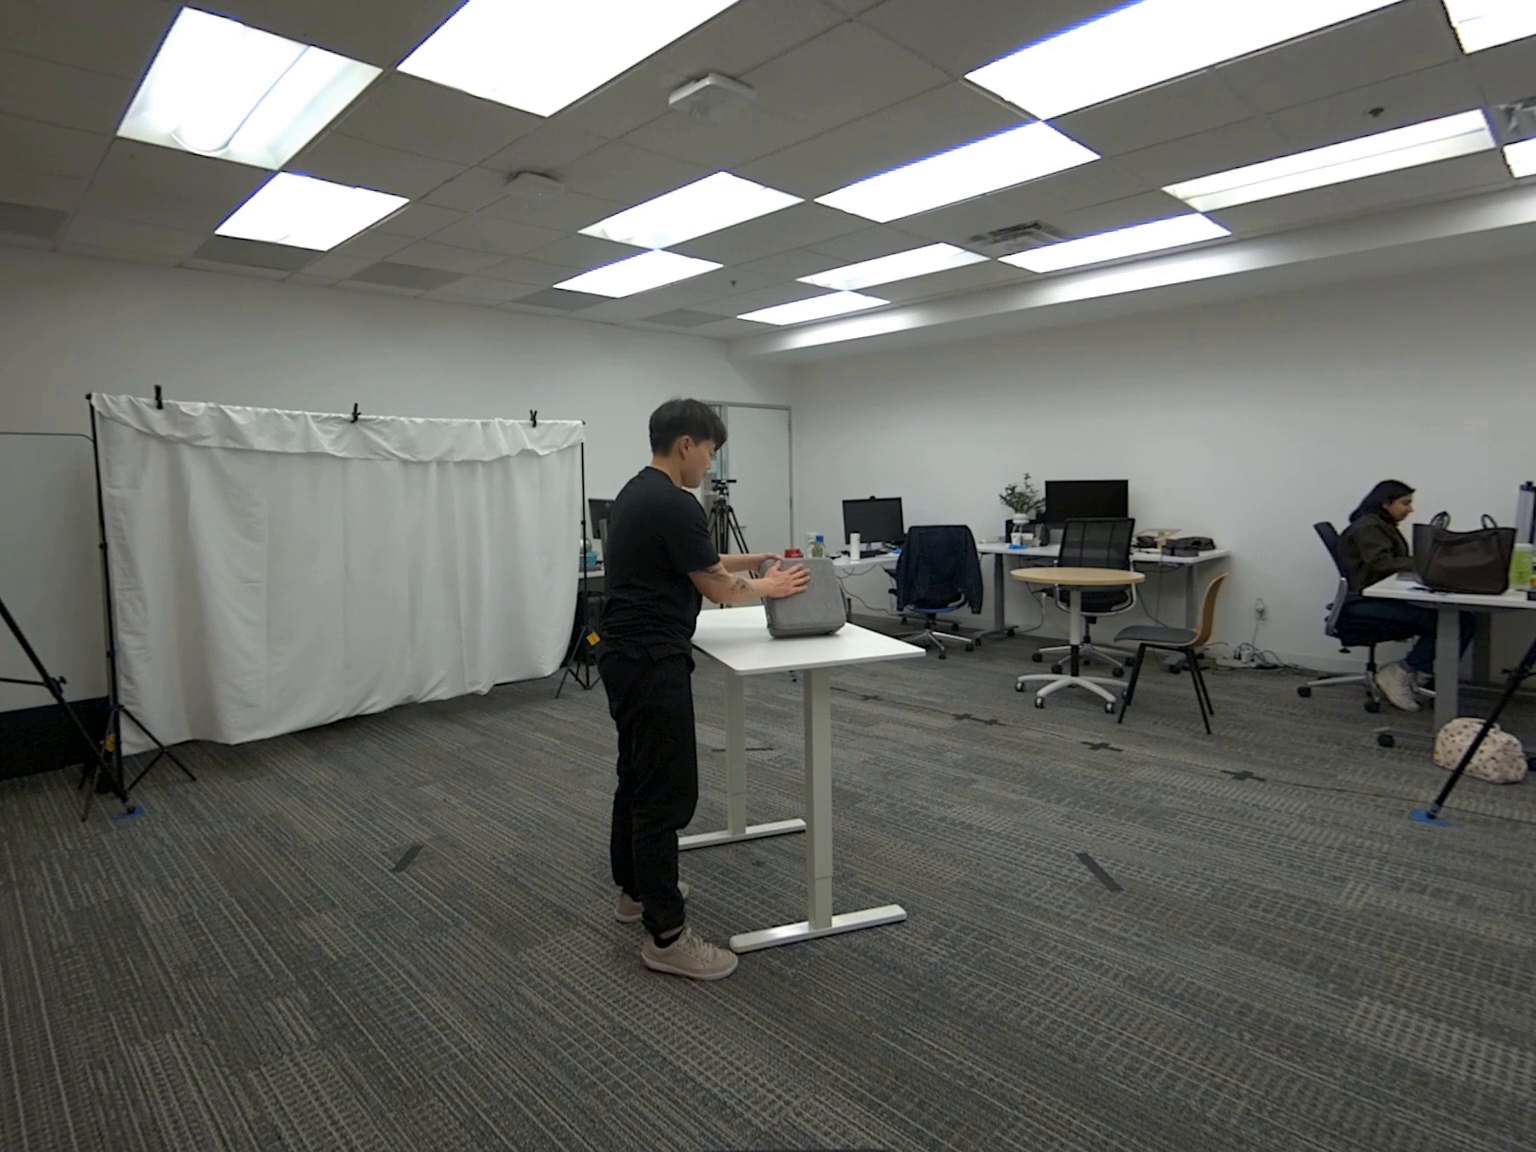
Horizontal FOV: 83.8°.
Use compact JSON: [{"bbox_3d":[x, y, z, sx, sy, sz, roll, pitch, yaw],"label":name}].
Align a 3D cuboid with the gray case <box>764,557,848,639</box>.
[{"bbox_3d":[0.115,0.067,2.824,0.257,0.263,0.103,-3,-26,-13],"label":"gray case"}]
